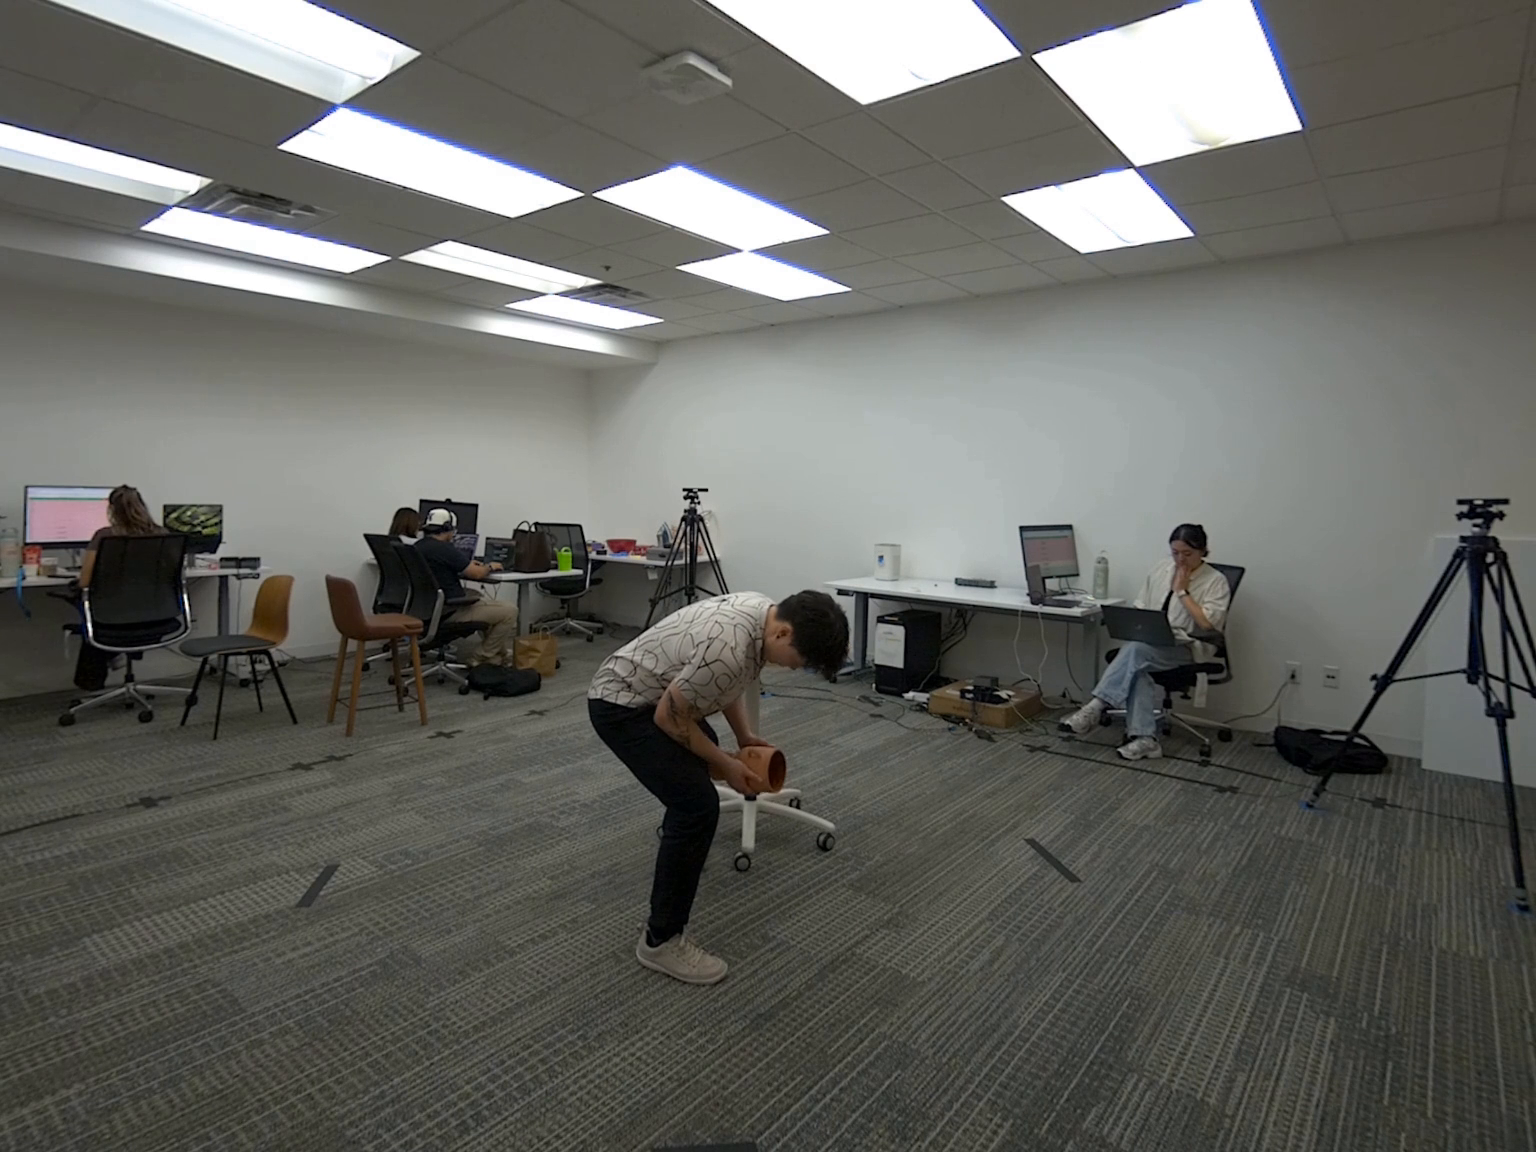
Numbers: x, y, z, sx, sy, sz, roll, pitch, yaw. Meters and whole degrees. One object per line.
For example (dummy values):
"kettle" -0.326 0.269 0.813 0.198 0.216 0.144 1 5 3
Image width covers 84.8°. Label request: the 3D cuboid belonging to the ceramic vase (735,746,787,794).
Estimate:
"ceramic vase" -0.068 0.589 2.636 0.225 0.158 0.132 -3 8 29
